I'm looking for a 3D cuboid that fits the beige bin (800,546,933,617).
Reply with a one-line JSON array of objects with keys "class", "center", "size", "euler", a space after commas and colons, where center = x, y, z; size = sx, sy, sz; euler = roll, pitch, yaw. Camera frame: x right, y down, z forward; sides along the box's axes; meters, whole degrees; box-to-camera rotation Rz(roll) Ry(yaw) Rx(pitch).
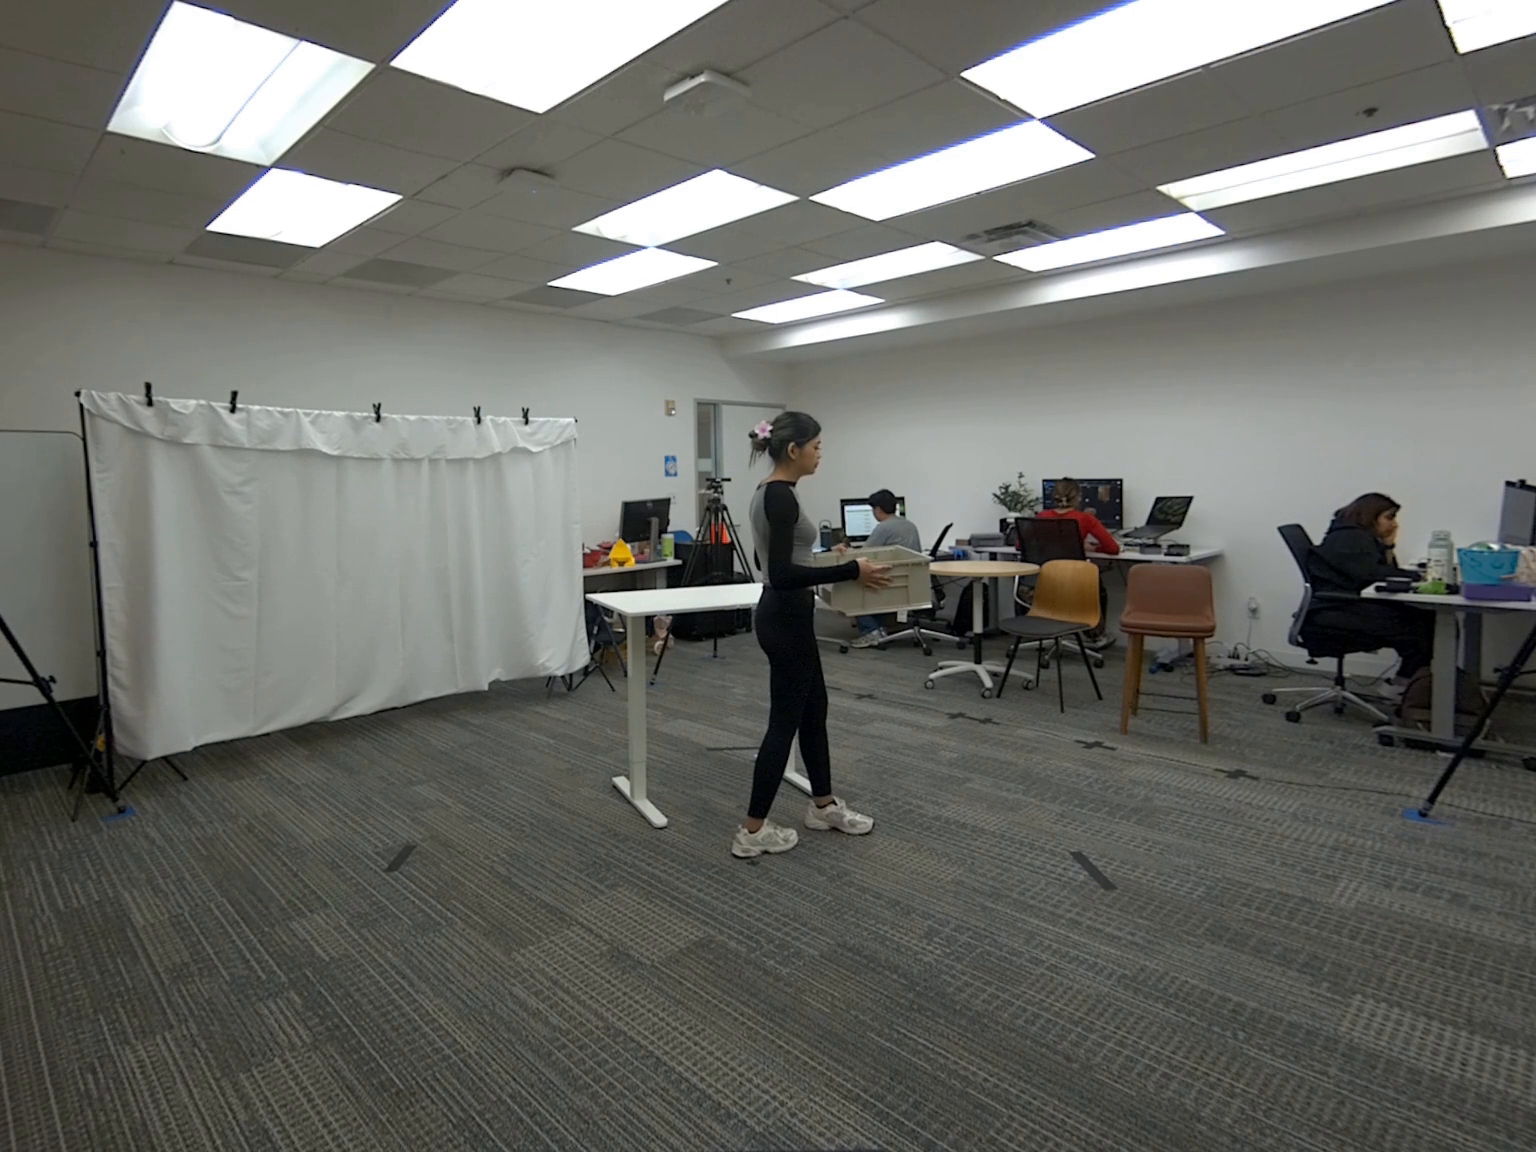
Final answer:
[{"class": "beige bin", "center": [0.375, 0.020, 3.203], "size": [0.375, 0.188, 0.428], "euler": [-5, 8, -9]}]
